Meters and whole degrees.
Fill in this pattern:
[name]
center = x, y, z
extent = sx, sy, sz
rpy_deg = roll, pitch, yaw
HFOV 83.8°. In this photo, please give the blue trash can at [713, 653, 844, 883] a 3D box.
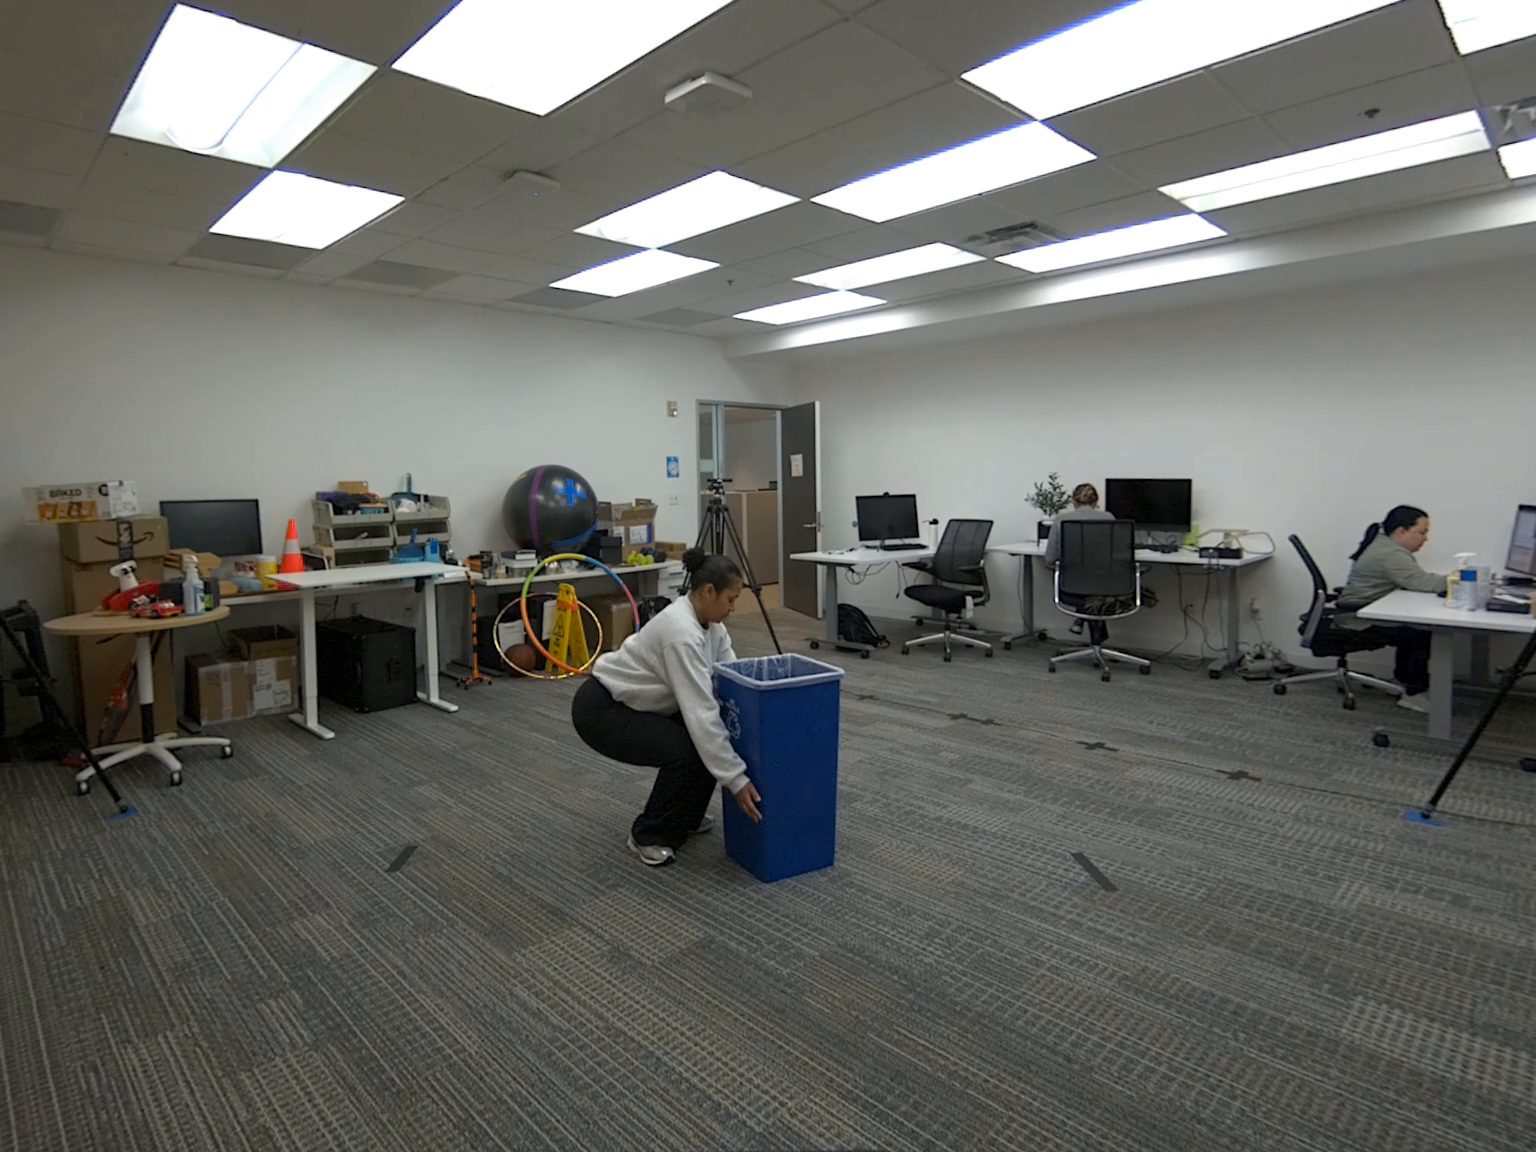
[blue trash can]
center = 0.035, 0.683, 3.110
extent = 0.365, 0.711, 0.388
rpy_deg = -3, 5, -30
